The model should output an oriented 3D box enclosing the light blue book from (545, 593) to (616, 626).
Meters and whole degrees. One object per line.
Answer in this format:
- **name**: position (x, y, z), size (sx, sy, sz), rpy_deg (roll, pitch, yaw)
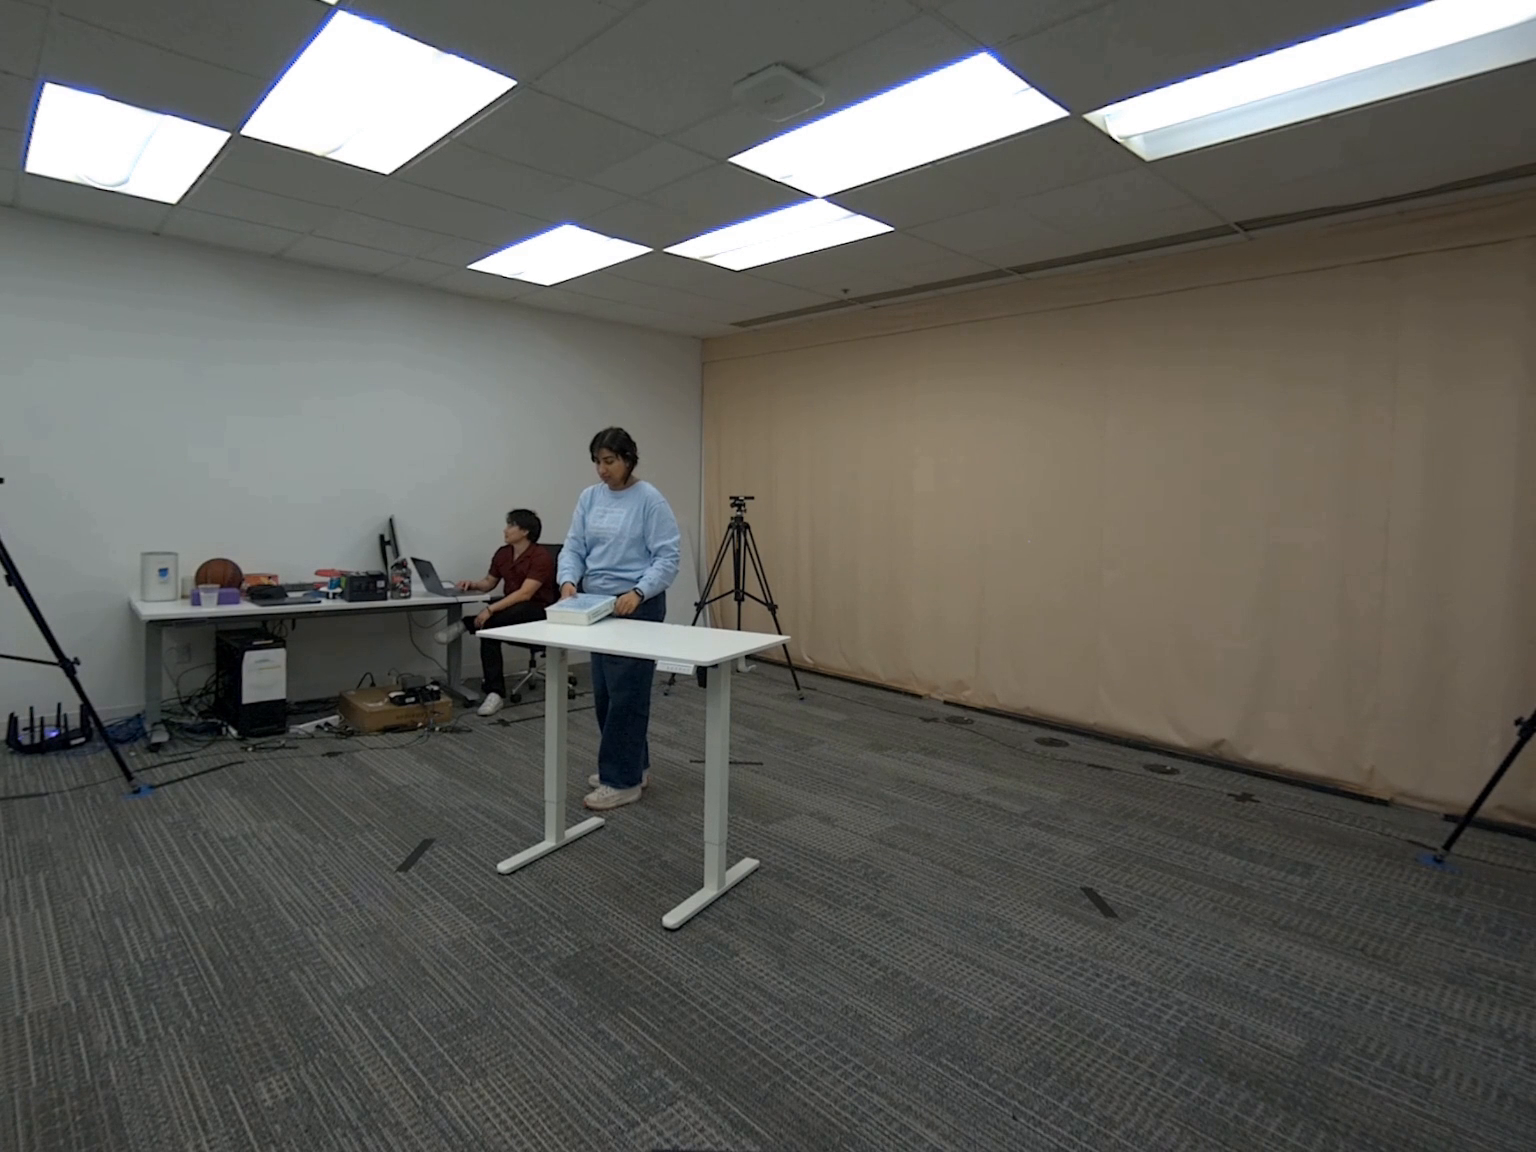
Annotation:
- **light blue book**: position (-0.793, 0.136, 3.424), size (0.194, 0.058, 0.259), rpy_deg (4, 12, 18)
